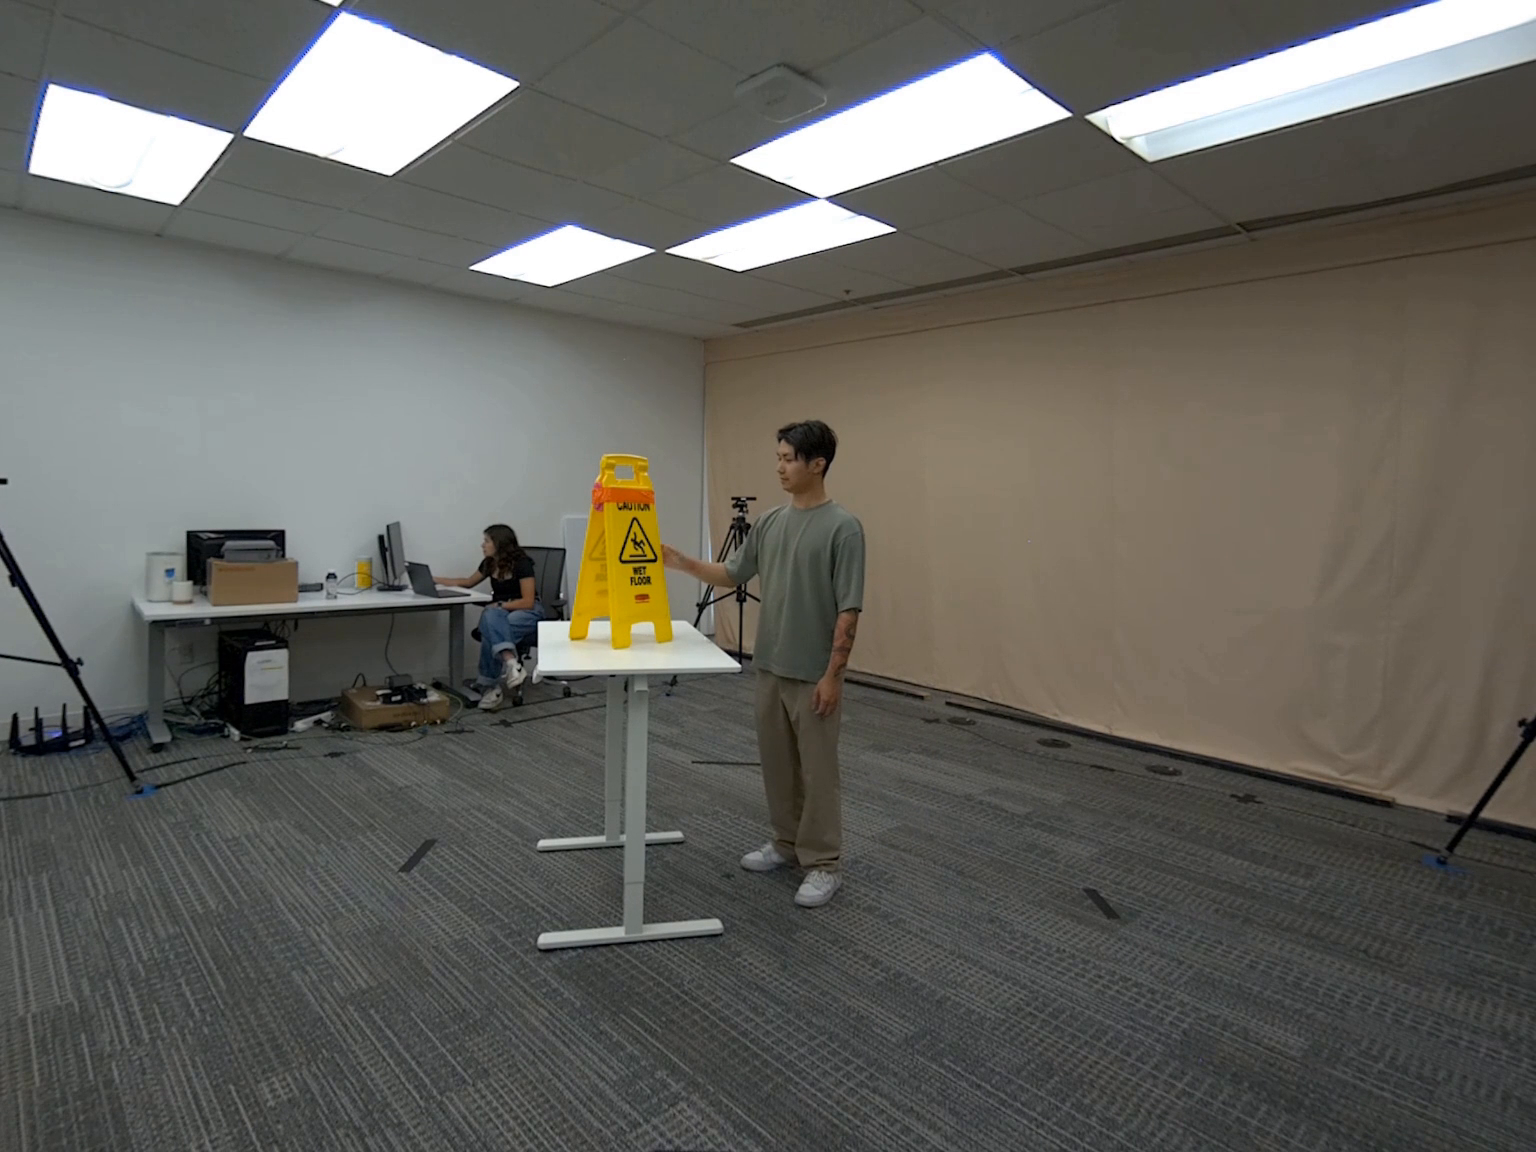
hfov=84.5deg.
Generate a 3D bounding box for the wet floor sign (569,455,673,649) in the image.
[{"bbox_3d":[-0.521,-0.096,2.950,0.297,0.645,0.276,4,2,39],"label":"wet floor sign"}]
